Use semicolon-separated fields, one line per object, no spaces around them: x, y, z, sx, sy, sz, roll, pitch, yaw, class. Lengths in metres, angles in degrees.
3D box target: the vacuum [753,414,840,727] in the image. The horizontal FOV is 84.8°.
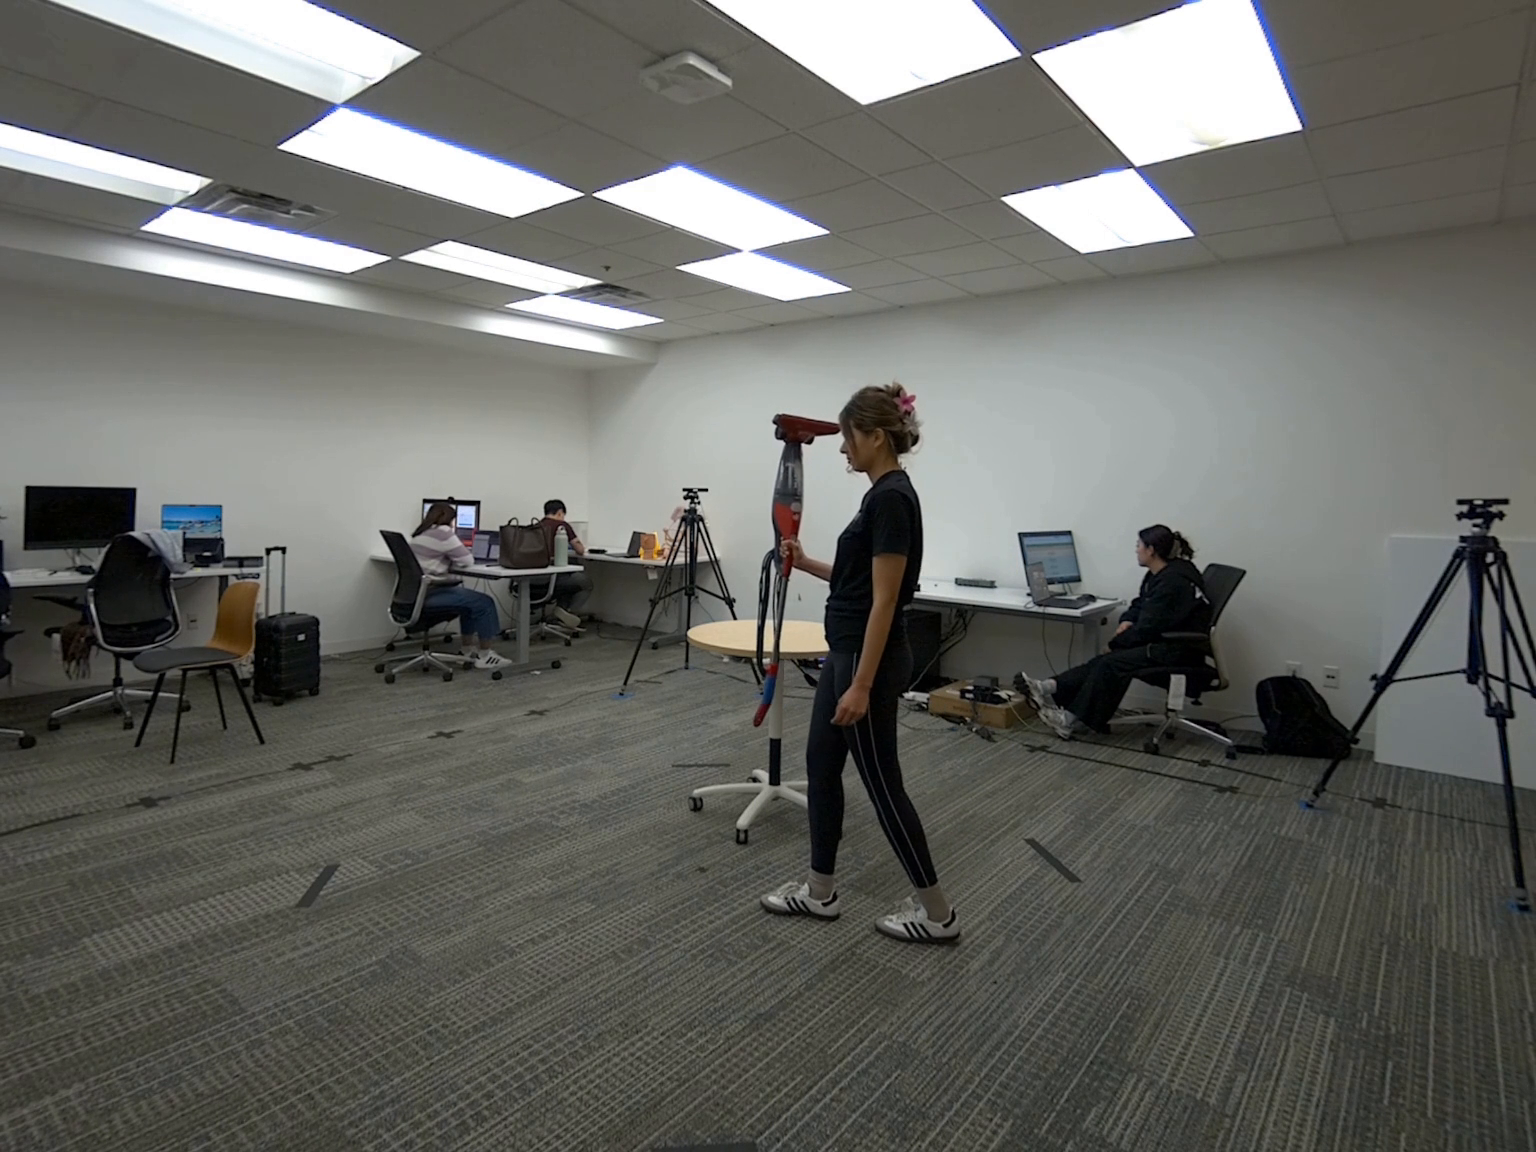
0.028;-0.006;2.935;0.246;1.046;0.148;8;4;-24;vacuum
